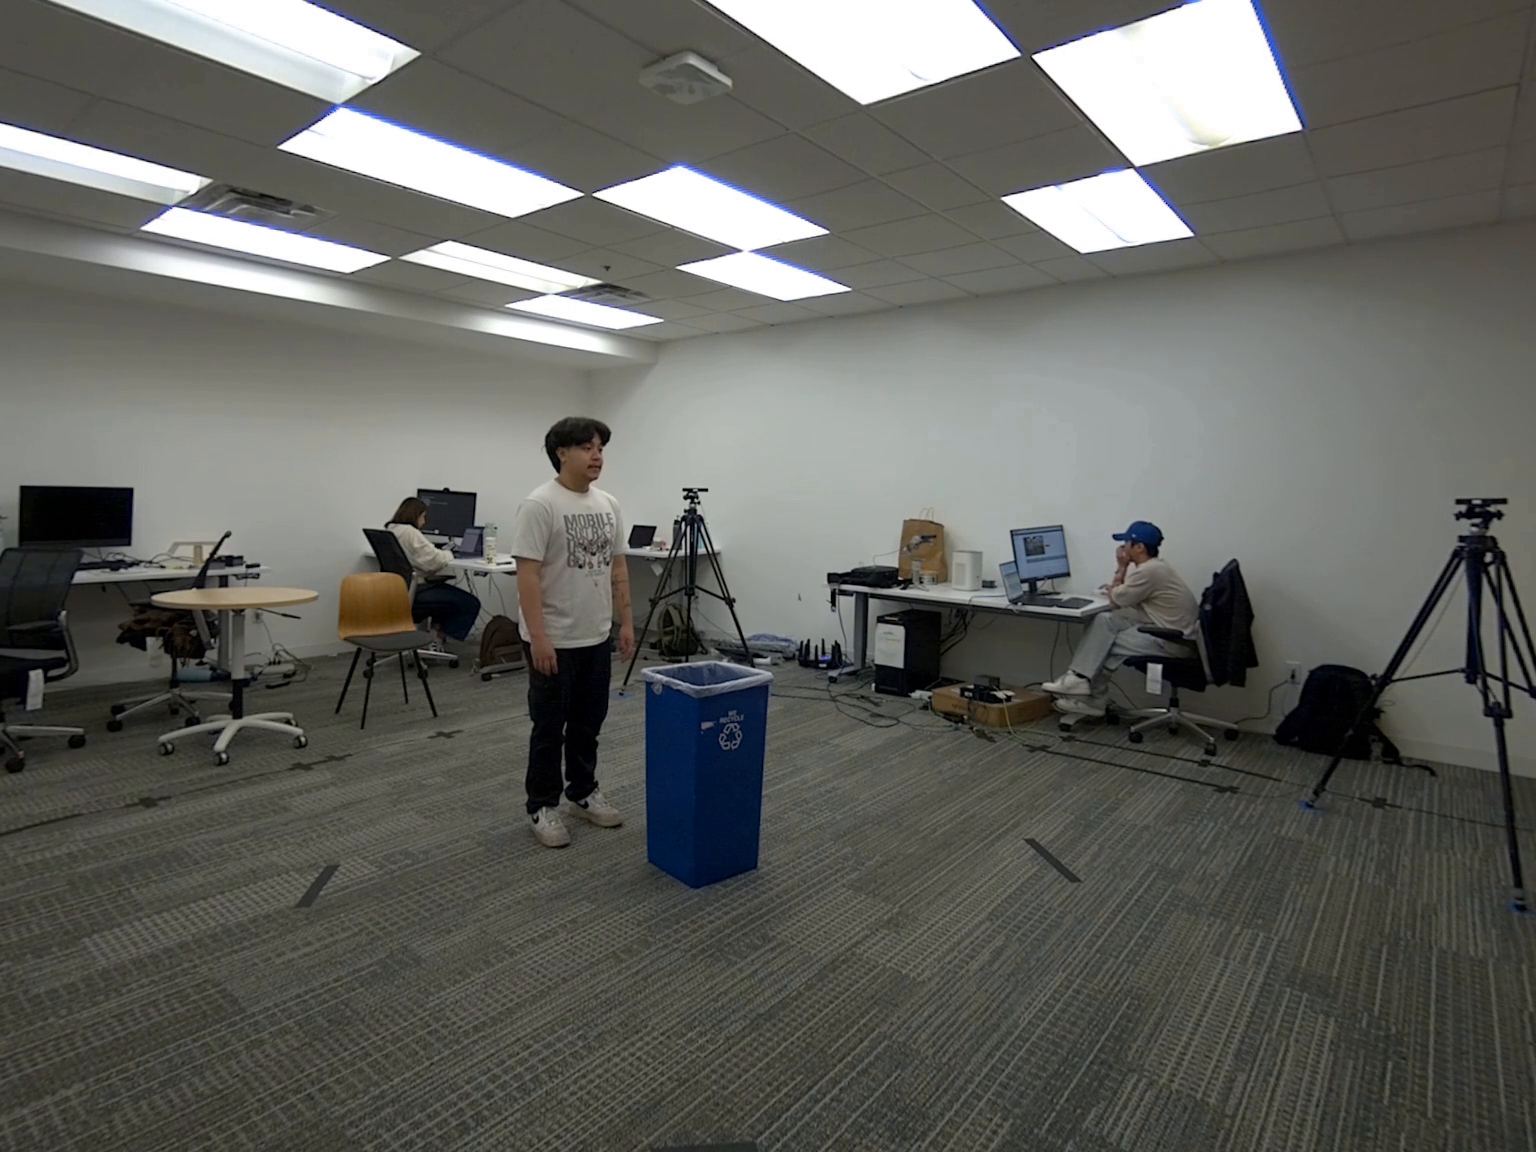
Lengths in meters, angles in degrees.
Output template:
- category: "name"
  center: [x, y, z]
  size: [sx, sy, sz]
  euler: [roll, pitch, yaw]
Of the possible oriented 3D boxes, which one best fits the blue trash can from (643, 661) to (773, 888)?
- category: "blue trash can"
  center: [-0.241, 0.706, 3.145]
  size: [0.363, 0.711, 0.391]
  euler: [-2, 4, -41]
